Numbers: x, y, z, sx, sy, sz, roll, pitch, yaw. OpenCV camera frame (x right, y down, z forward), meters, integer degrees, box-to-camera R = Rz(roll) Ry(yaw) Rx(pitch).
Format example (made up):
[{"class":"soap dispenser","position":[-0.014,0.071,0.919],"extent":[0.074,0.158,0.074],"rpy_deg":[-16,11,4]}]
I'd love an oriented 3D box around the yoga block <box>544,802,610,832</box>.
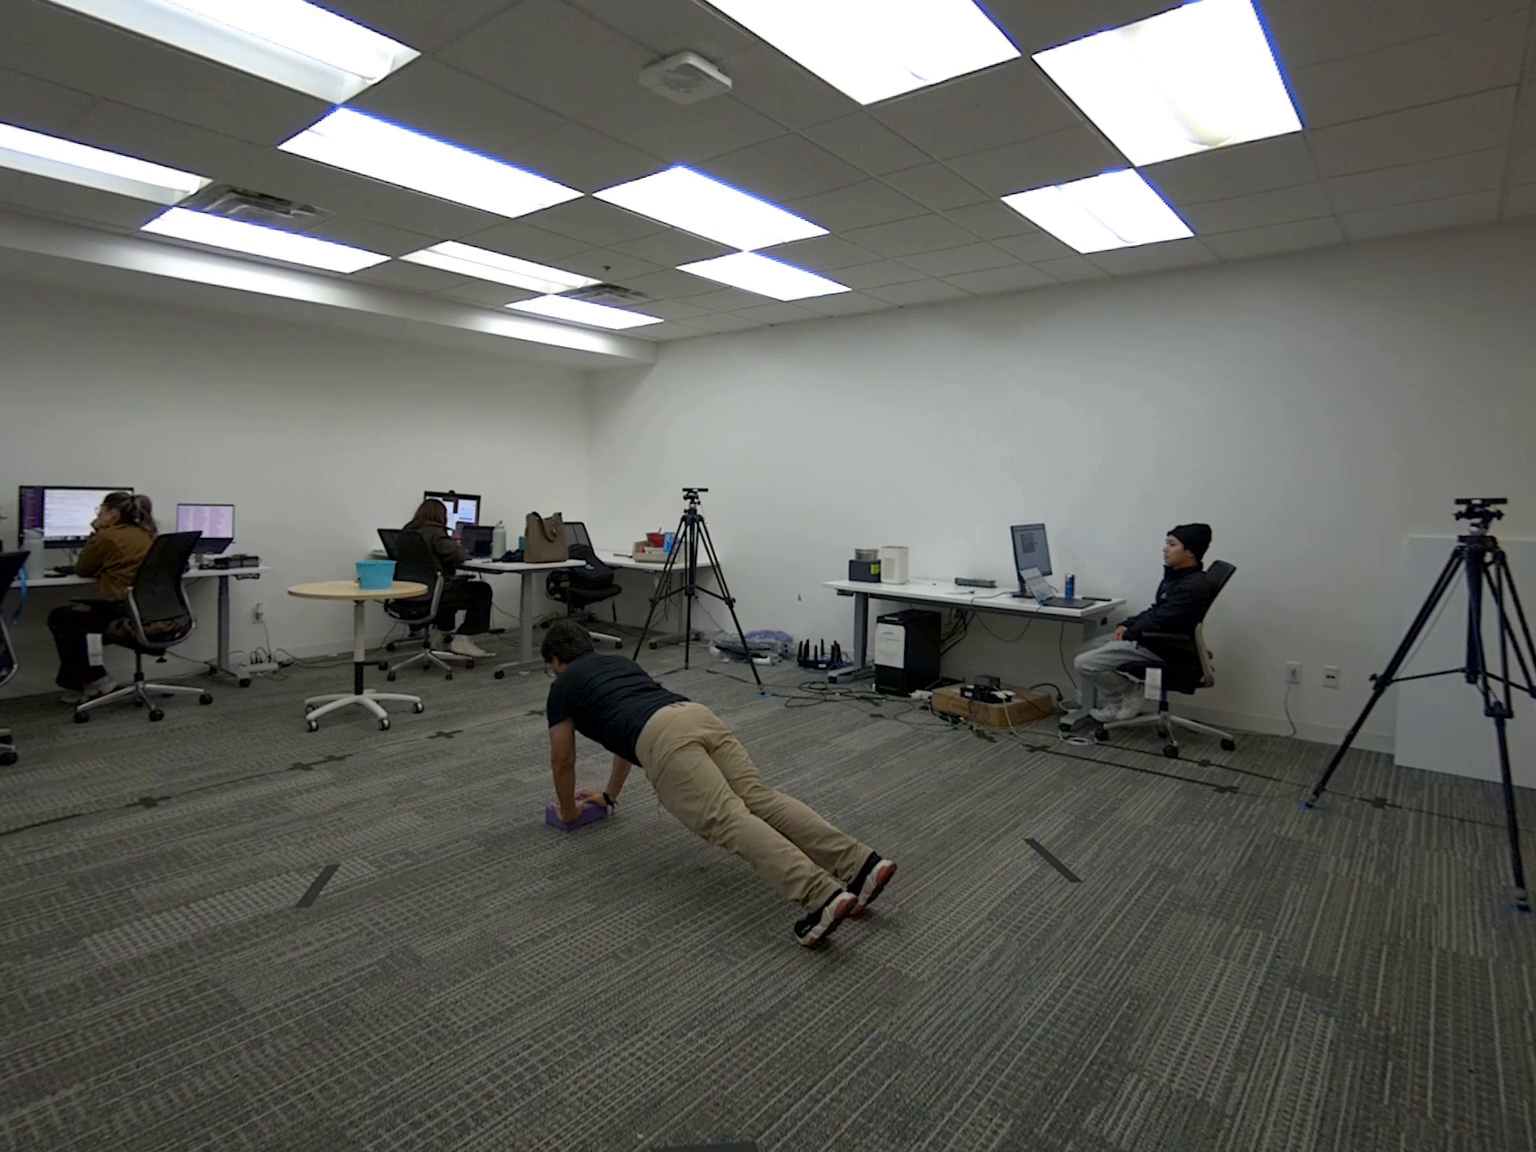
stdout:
[{"class":"yoga block","position":[-0.812,0.981,3.564],"extent":[0.154,0.076,0.223],"rpy_deg":[3,5,37]}]
